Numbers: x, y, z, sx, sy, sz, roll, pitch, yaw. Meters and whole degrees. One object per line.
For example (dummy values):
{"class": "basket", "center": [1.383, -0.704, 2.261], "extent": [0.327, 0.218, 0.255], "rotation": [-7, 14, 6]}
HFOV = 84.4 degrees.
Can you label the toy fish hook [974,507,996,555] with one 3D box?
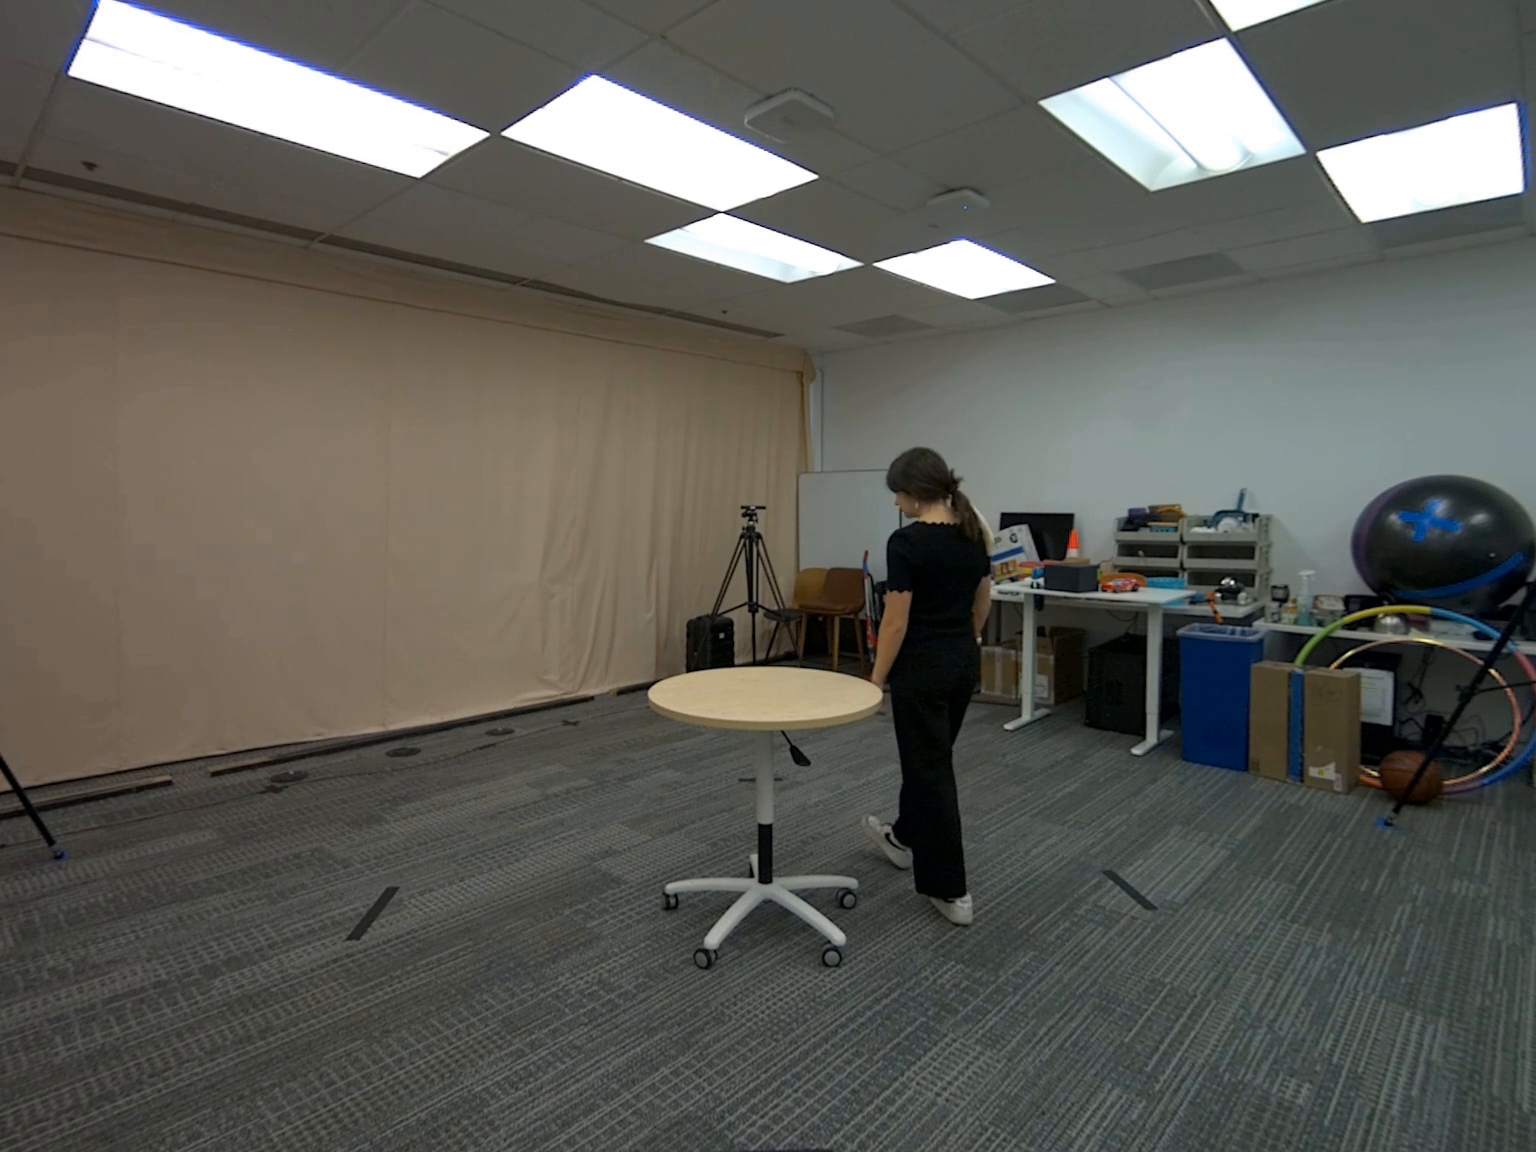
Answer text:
{"class": "toy fish hook", "center": [0.730, -0.009, 2.964], "extent": [0.047, 0.506, 0.230], "rotation": [-14, 2, -36]}
